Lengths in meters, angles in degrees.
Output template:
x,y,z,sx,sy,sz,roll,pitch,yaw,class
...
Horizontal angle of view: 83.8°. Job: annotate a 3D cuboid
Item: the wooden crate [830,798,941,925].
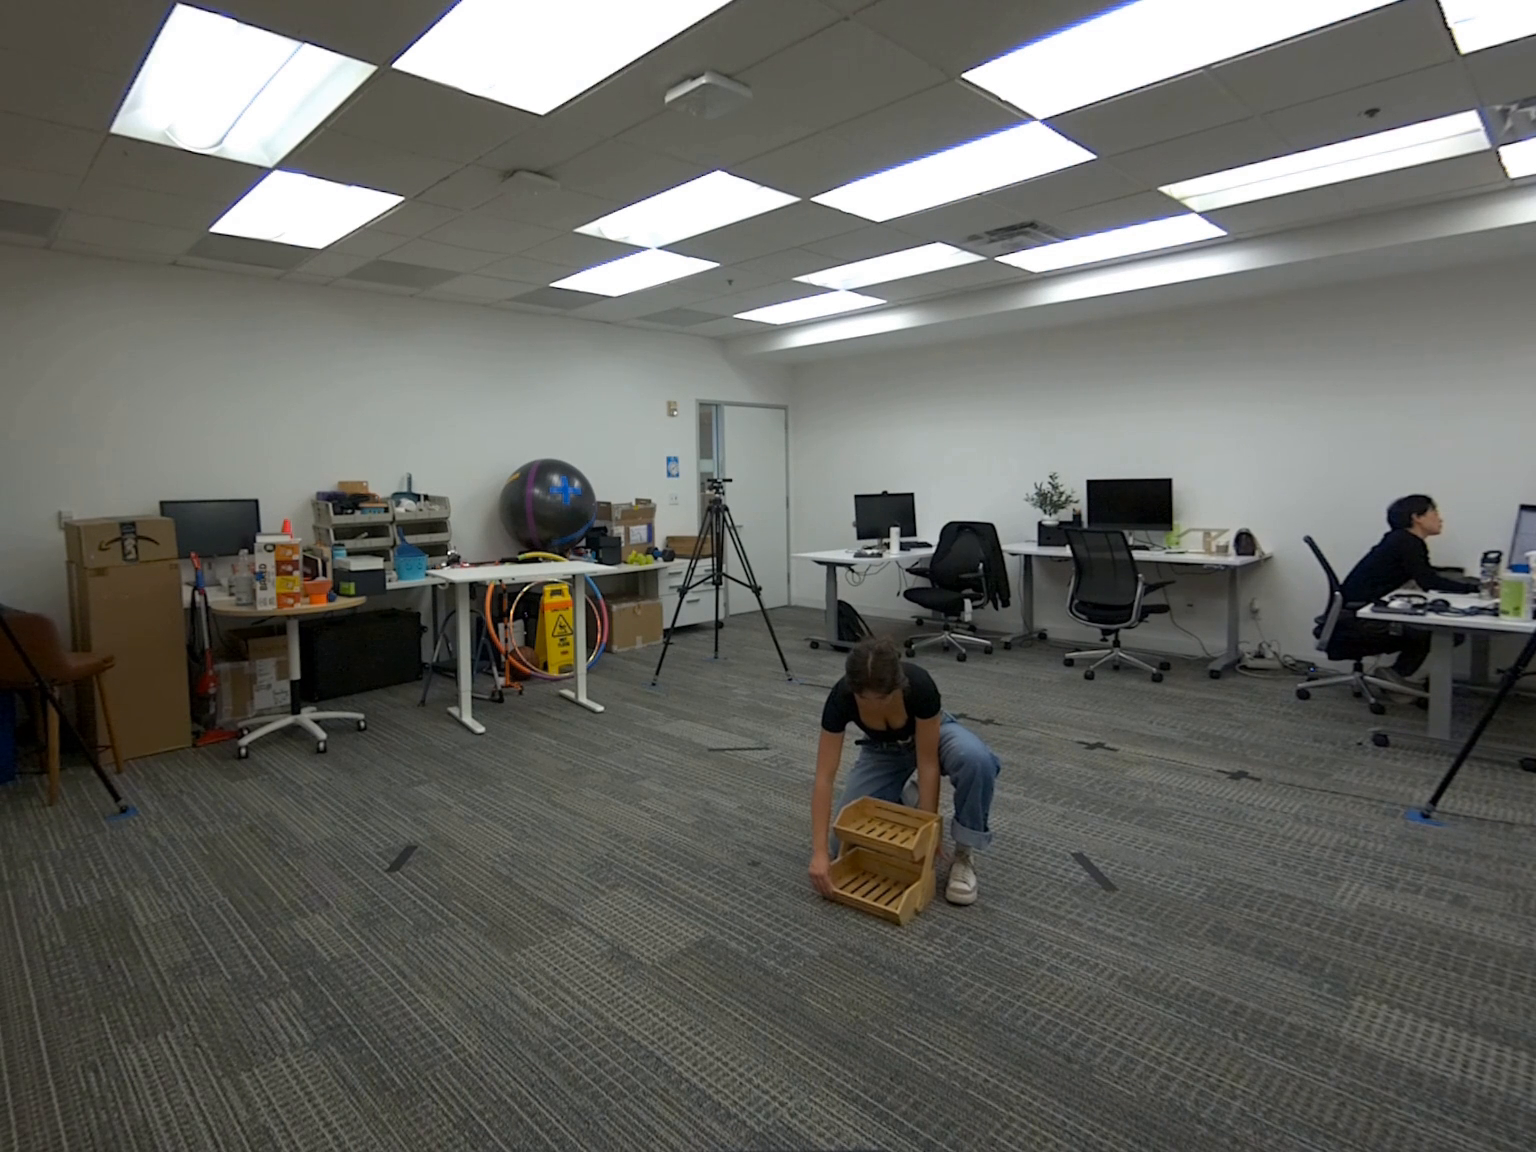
x,y,z,sx,sy,sz,roll,pitch,yaw,class
0.377,0.934,2.846,0.334,0.272,0.294,3,6,38,wooden crate
